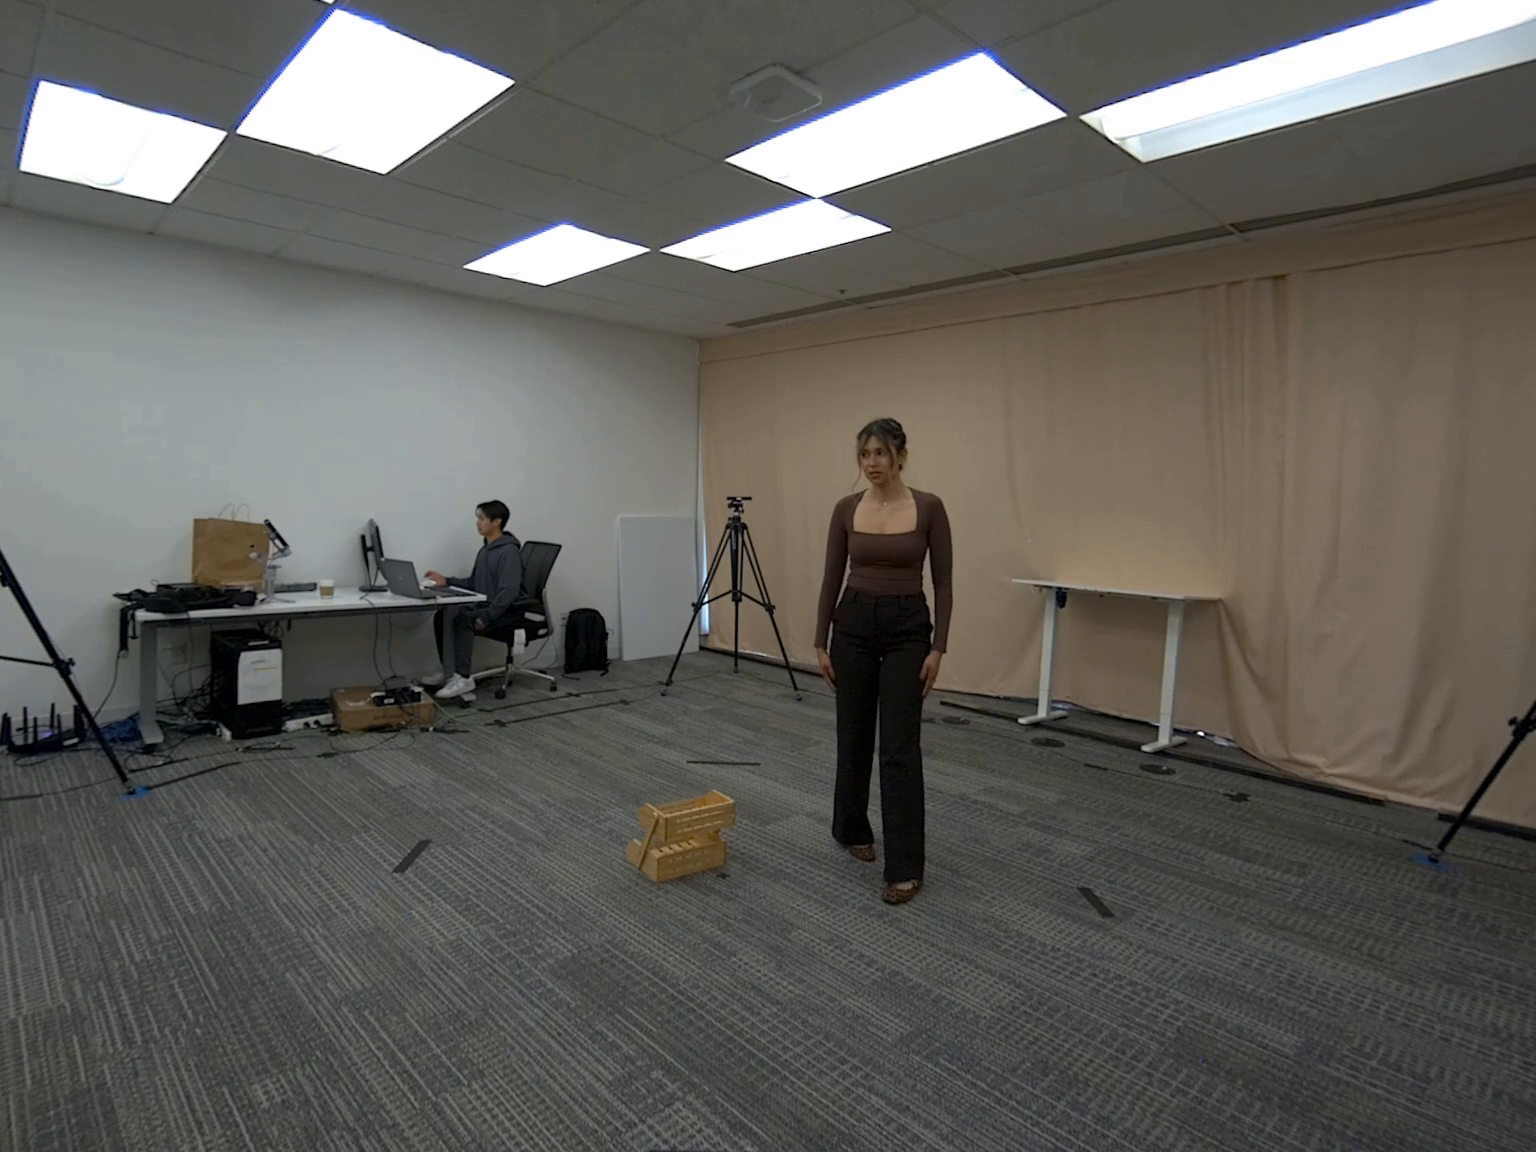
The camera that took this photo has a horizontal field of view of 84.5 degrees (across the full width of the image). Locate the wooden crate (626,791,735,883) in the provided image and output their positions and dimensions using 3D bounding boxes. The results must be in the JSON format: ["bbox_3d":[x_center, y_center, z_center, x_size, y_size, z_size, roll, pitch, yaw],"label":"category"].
[{"bbox_3d":[-0.342,0.959,3.191,0.317,0.272,0.309,-1,5,-36],"label":"wooden crate"}]
